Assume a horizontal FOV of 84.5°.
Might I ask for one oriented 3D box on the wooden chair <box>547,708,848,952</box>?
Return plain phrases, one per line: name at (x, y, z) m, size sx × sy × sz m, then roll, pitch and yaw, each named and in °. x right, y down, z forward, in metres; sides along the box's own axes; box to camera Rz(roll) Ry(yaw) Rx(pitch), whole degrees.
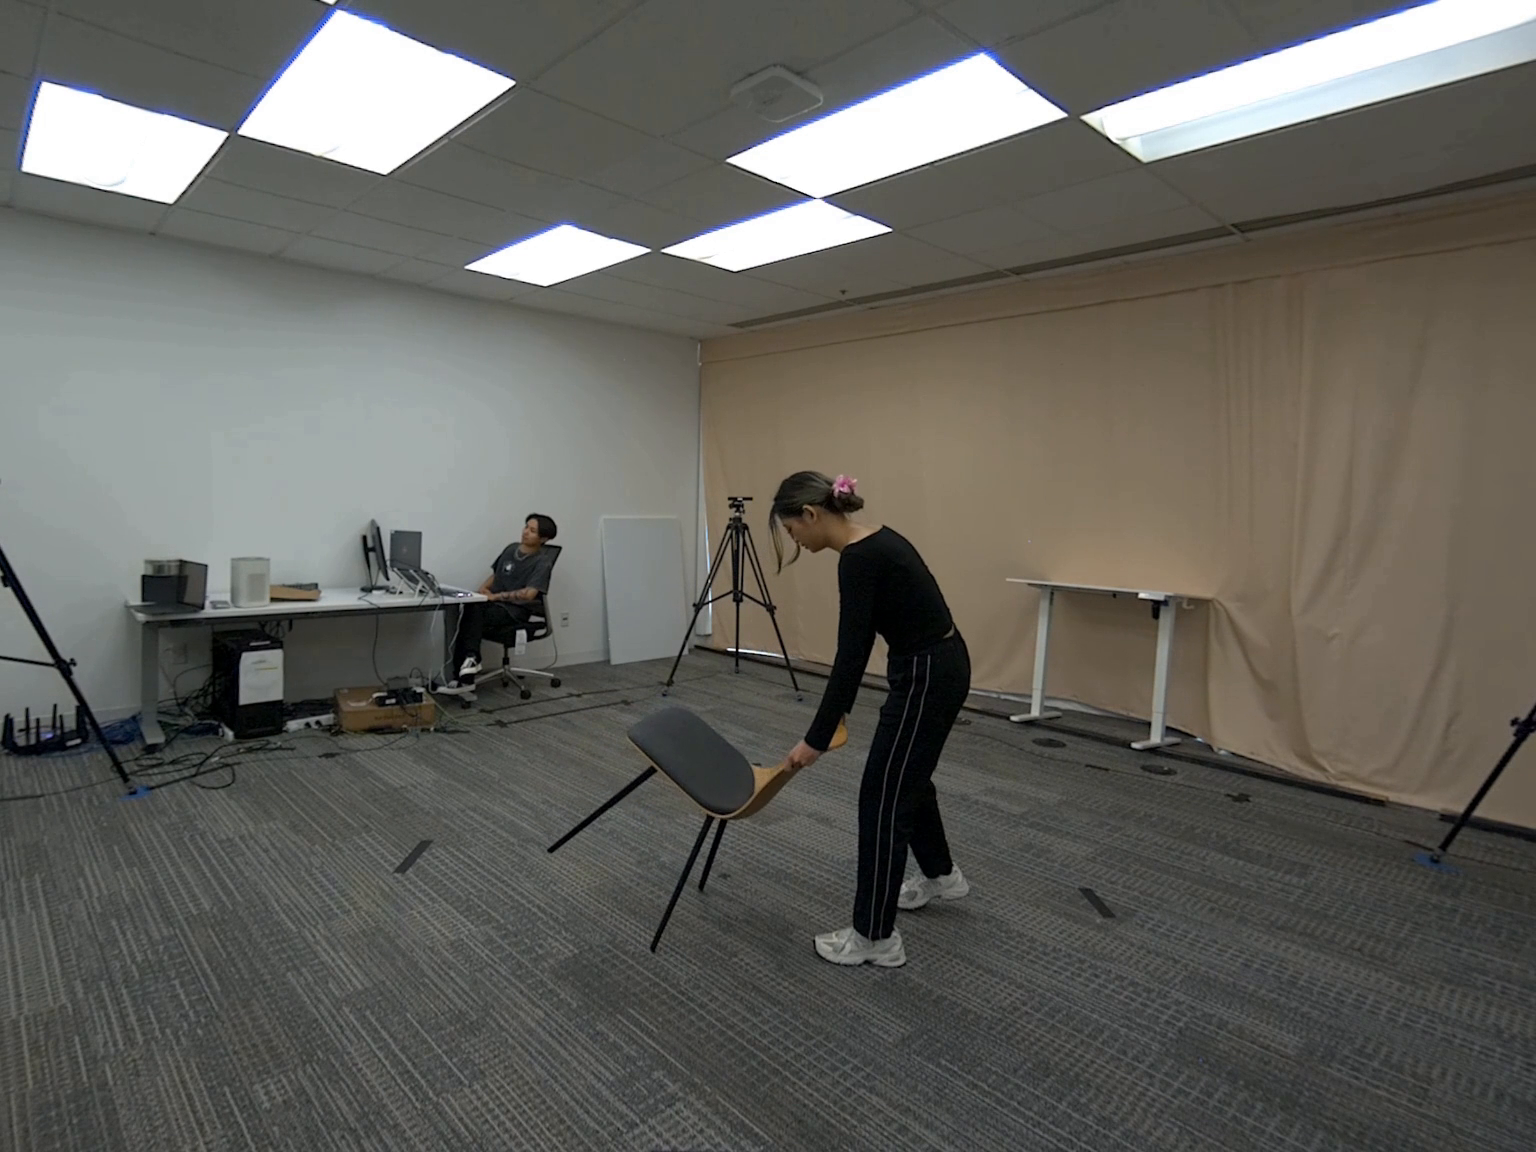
wooden chair at (-0.225, 0.655, 2.729) m, size 0.530 × 0.876 × 0.472 m, roll 43°, pitch 14°, yaw 11°
